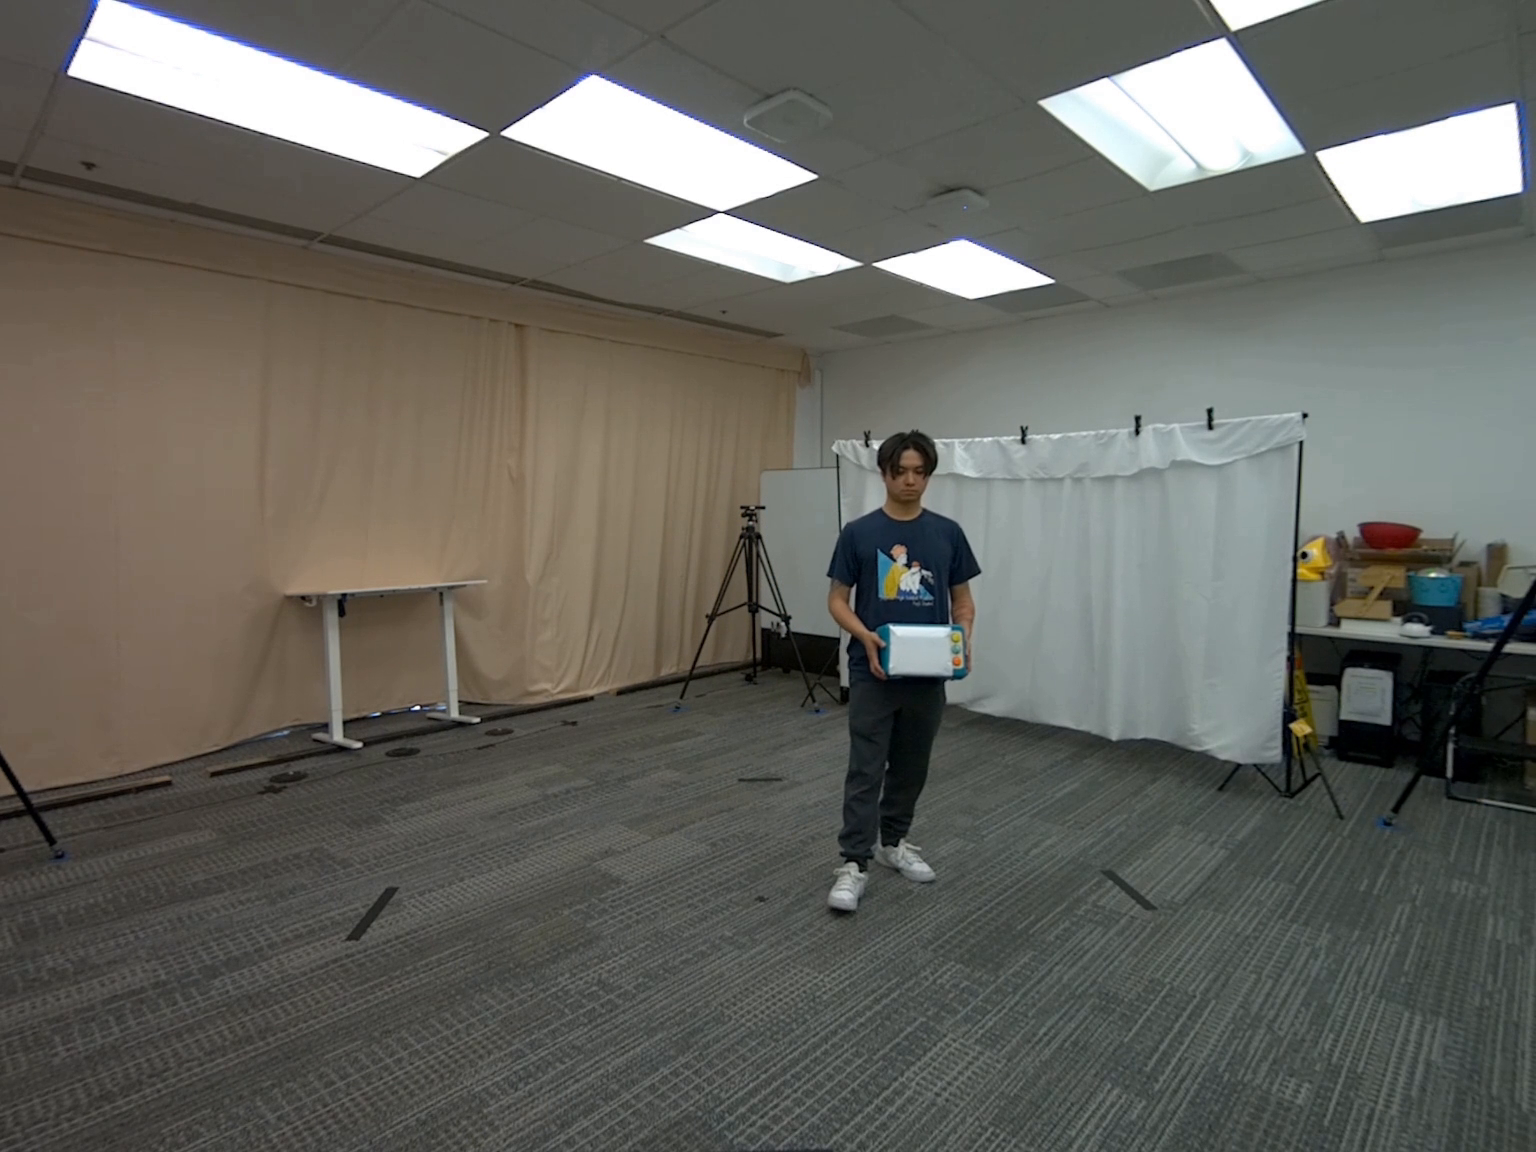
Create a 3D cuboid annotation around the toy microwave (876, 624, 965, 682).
[{"bbox_3d":[0.493,0.258,2.867,0.285,0.185,0.152,1,-11,-5],"label":"toy microwave"}]
